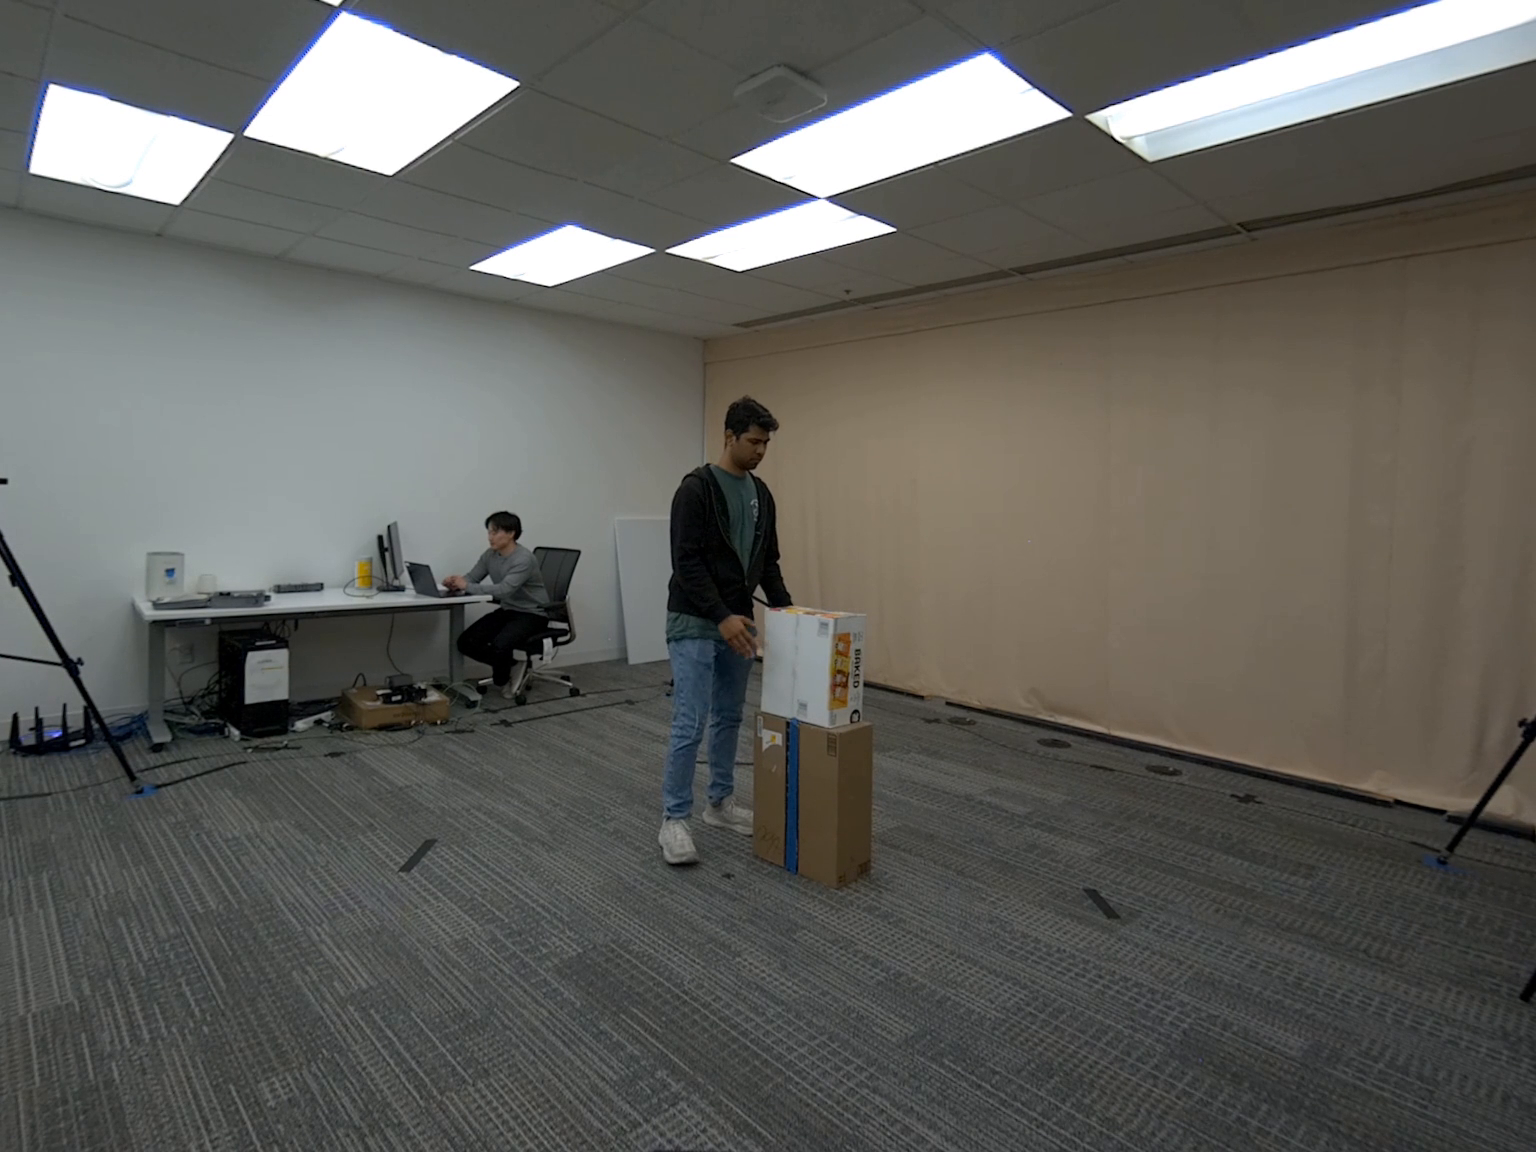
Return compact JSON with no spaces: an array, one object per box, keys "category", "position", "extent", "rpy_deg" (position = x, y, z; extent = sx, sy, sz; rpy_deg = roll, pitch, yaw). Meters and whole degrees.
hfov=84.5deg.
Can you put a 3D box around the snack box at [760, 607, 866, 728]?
[{"category":"snack box","position":[0.161,0.335,3.212],"extent":[0.349,0.404,0.201],"rpy_deg":[5,3,44]}]
